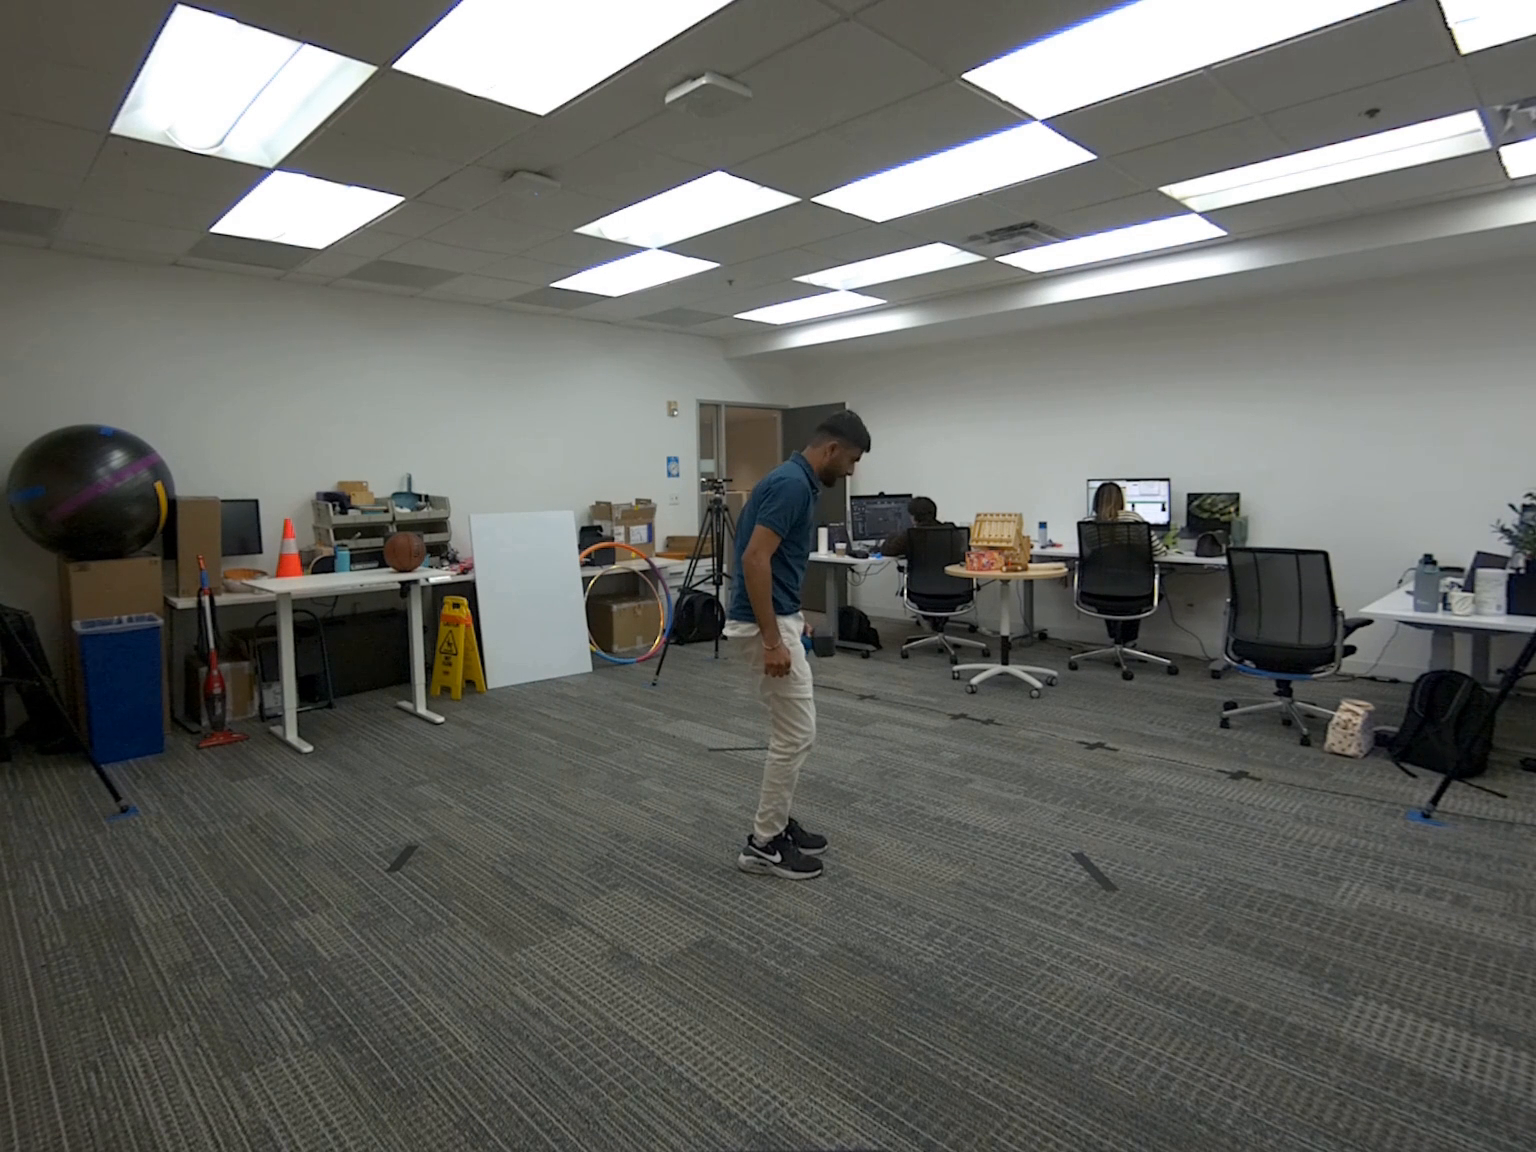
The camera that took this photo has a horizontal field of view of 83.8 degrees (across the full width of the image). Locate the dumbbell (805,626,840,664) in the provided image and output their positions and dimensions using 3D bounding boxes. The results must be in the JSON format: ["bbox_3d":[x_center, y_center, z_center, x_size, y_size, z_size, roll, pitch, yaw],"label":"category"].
[{"bbox_3d":[0.125,0.265,3.334,0.297,0.122,0.108,-1,4,11],"label":"dumbbell"}]
